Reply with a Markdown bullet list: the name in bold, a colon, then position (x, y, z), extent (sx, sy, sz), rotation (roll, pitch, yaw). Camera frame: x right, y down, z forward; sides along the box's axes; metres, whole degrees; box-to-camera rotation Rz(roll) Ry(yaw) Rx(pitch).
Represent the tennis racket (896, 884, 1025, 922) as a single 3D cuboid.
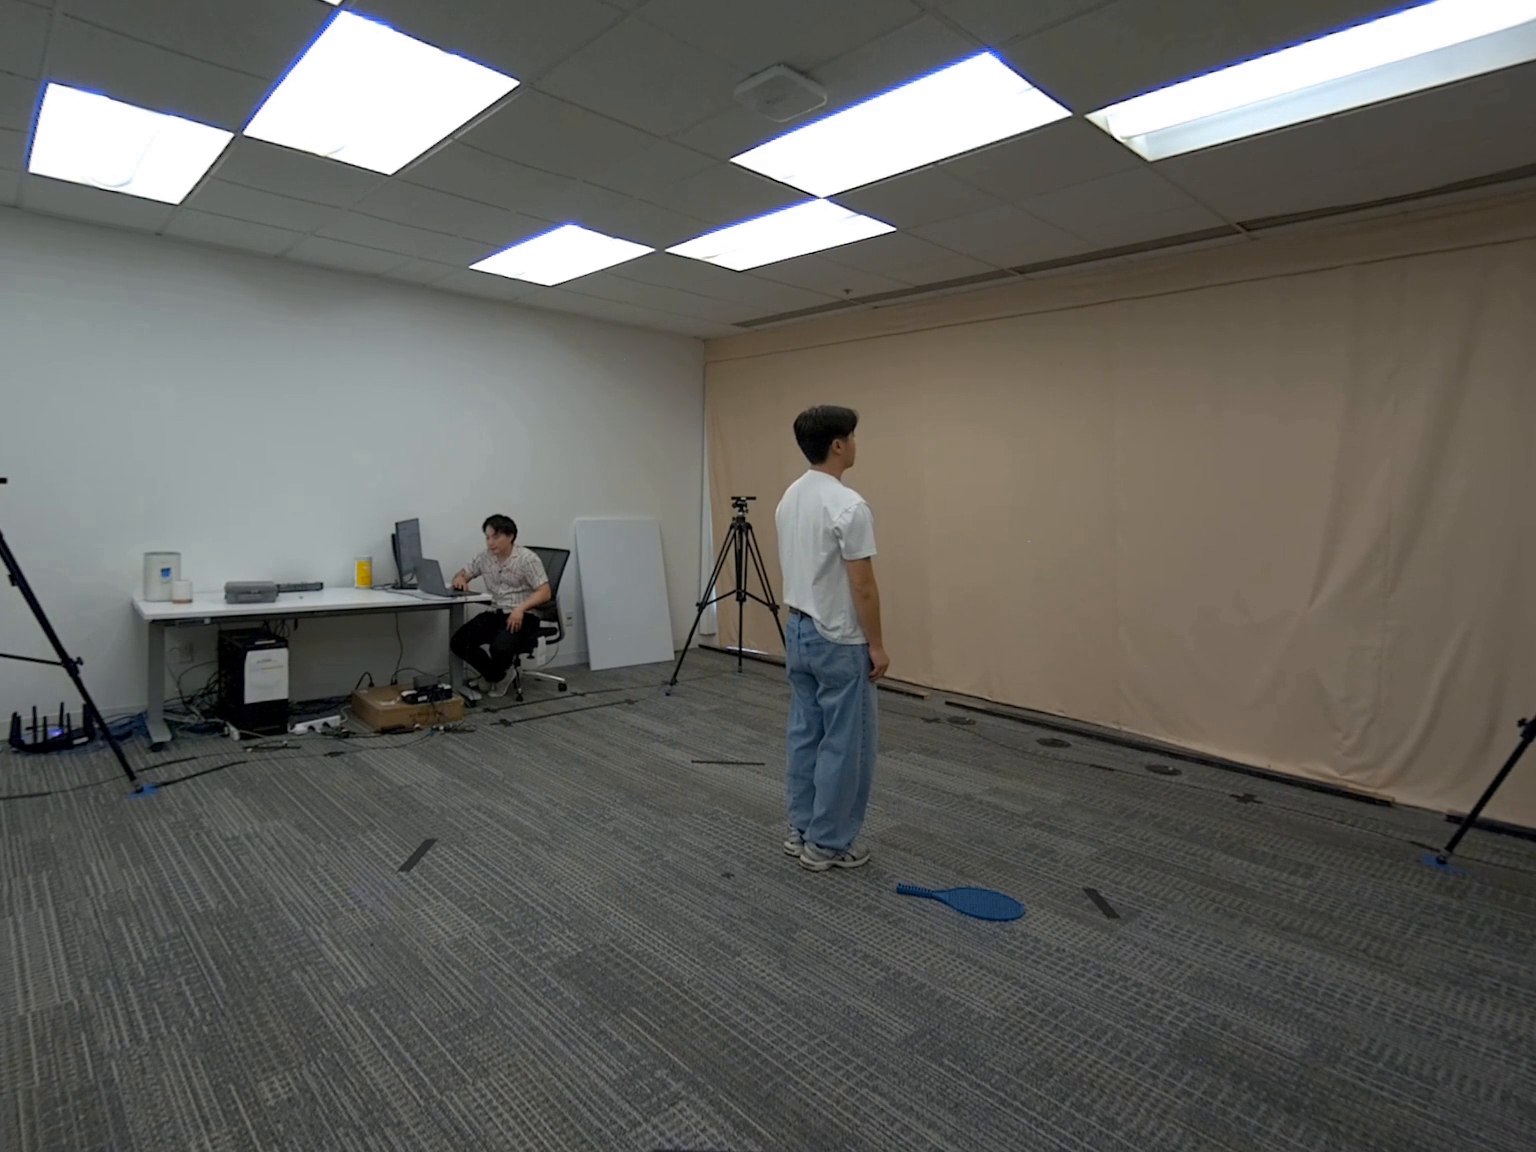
- **tennis racket**: position (0.656, 1.126, 2.949), extent (0.439, 0.031, 0.211), rotation (5, 5, 16)
